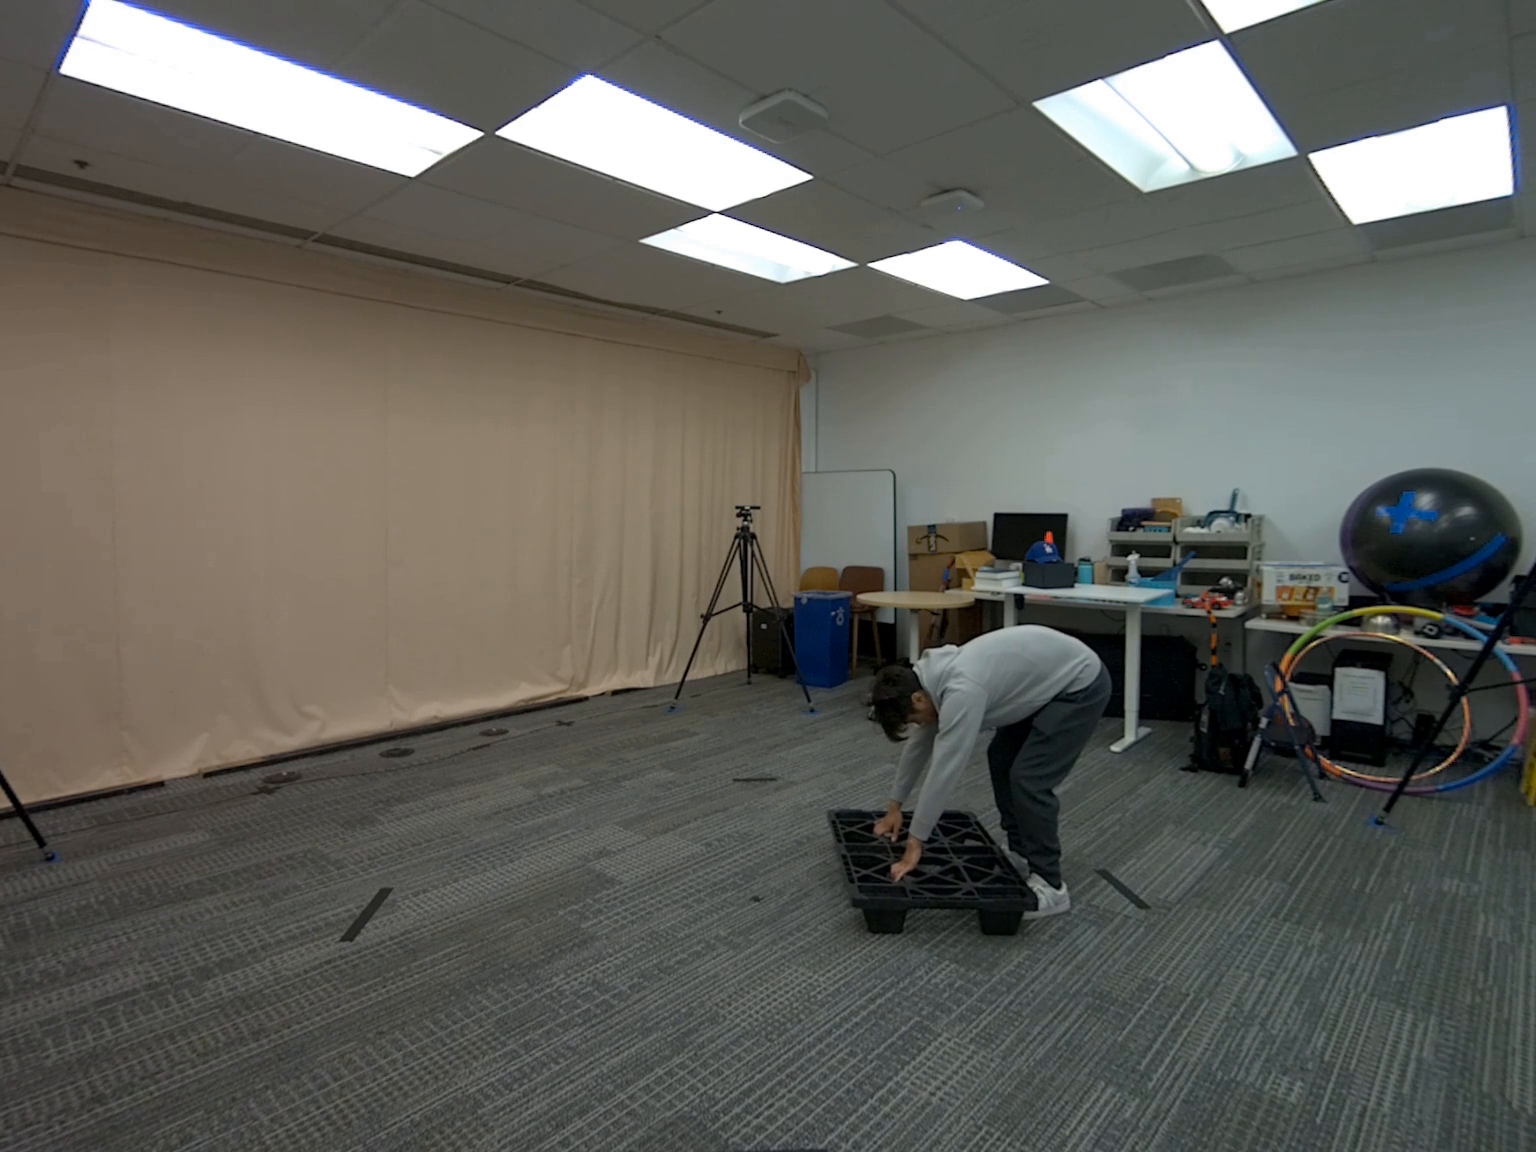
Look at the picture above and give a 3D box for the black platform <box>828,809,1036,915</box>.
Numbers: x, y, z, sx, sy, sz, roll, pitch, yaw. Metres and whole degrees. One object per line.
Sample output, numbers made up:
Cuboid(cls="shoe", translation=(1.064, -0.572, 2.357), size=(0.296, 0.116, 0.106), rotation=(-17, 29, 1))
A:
Cuboid(cls="black platform", translation=(0.562, 1.066, 3.090), size=(0.606, 0.143, 0.807), rotation=(1, 5, 0))
